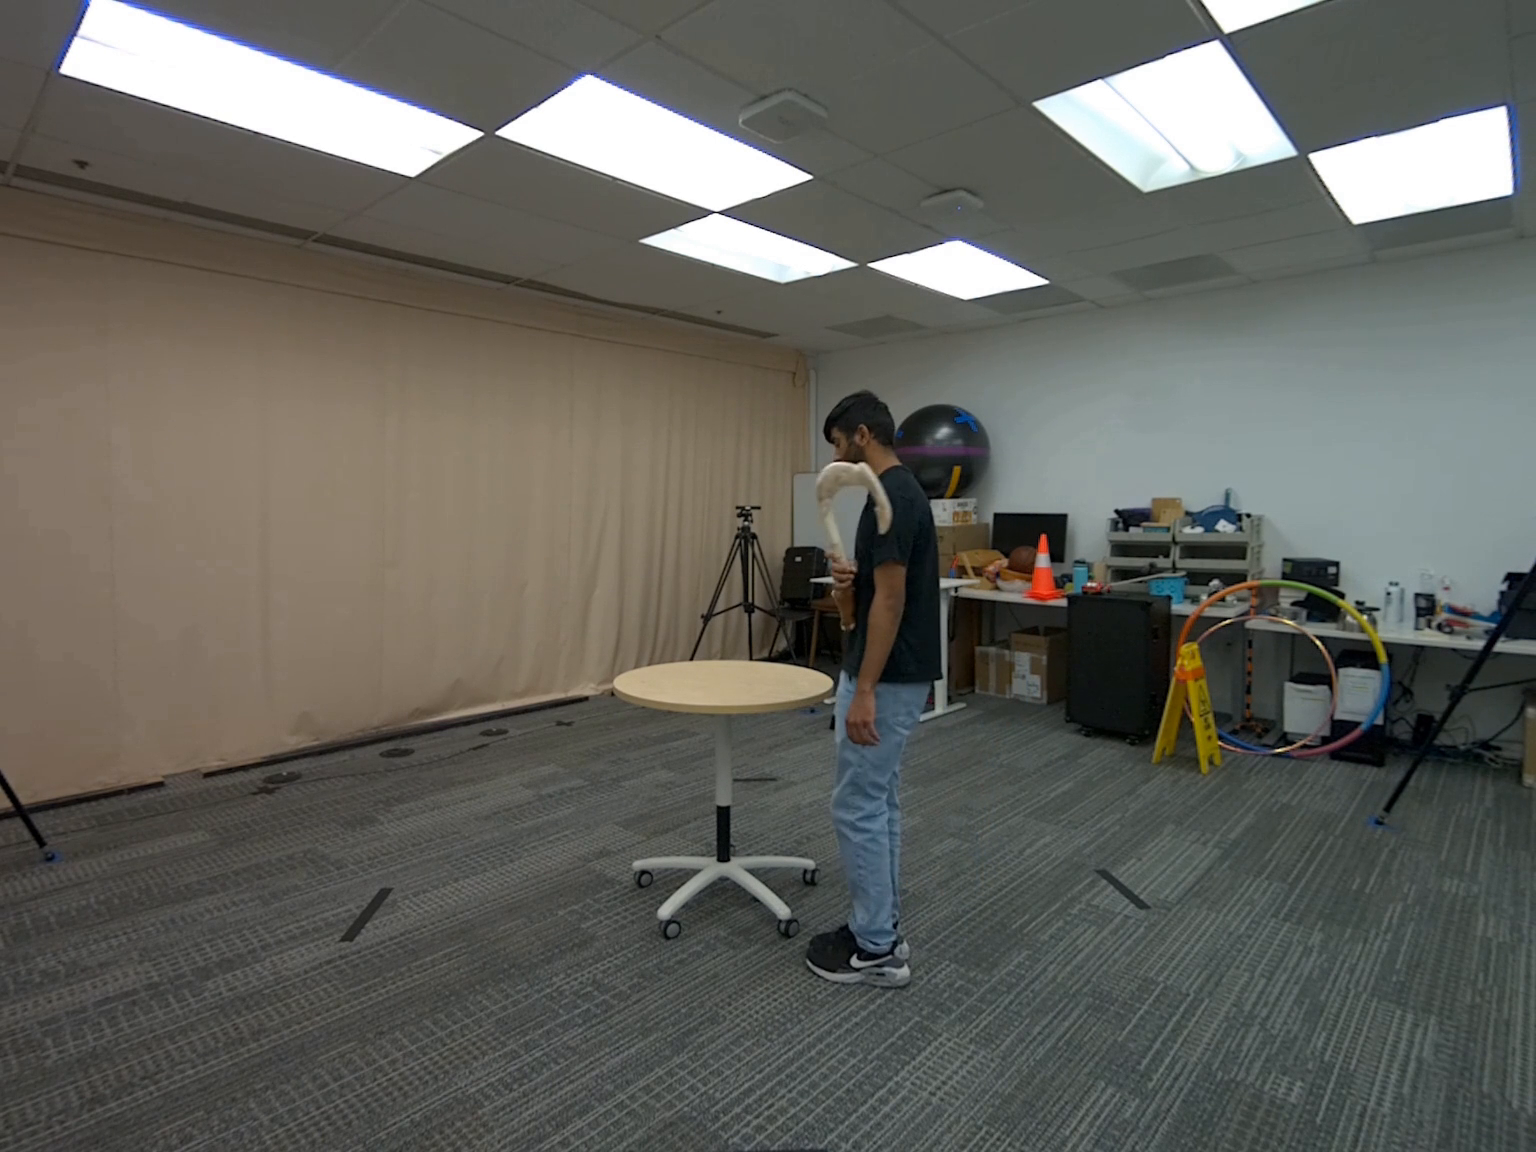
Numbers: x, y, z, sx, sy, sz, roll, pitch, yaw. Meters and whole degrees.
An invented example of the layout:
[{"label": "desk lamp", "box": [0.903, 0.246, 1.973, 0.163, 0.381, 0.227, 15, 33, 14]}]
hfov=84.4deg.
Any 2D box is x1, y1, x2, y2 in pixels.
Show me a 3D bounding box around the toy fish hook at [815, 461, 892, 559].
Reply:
[{"label": "toy fish hook", "box": [0.245, -0.061, 2.364, 0.232, 0.500, 0.047, 8, 23, 36]}]
